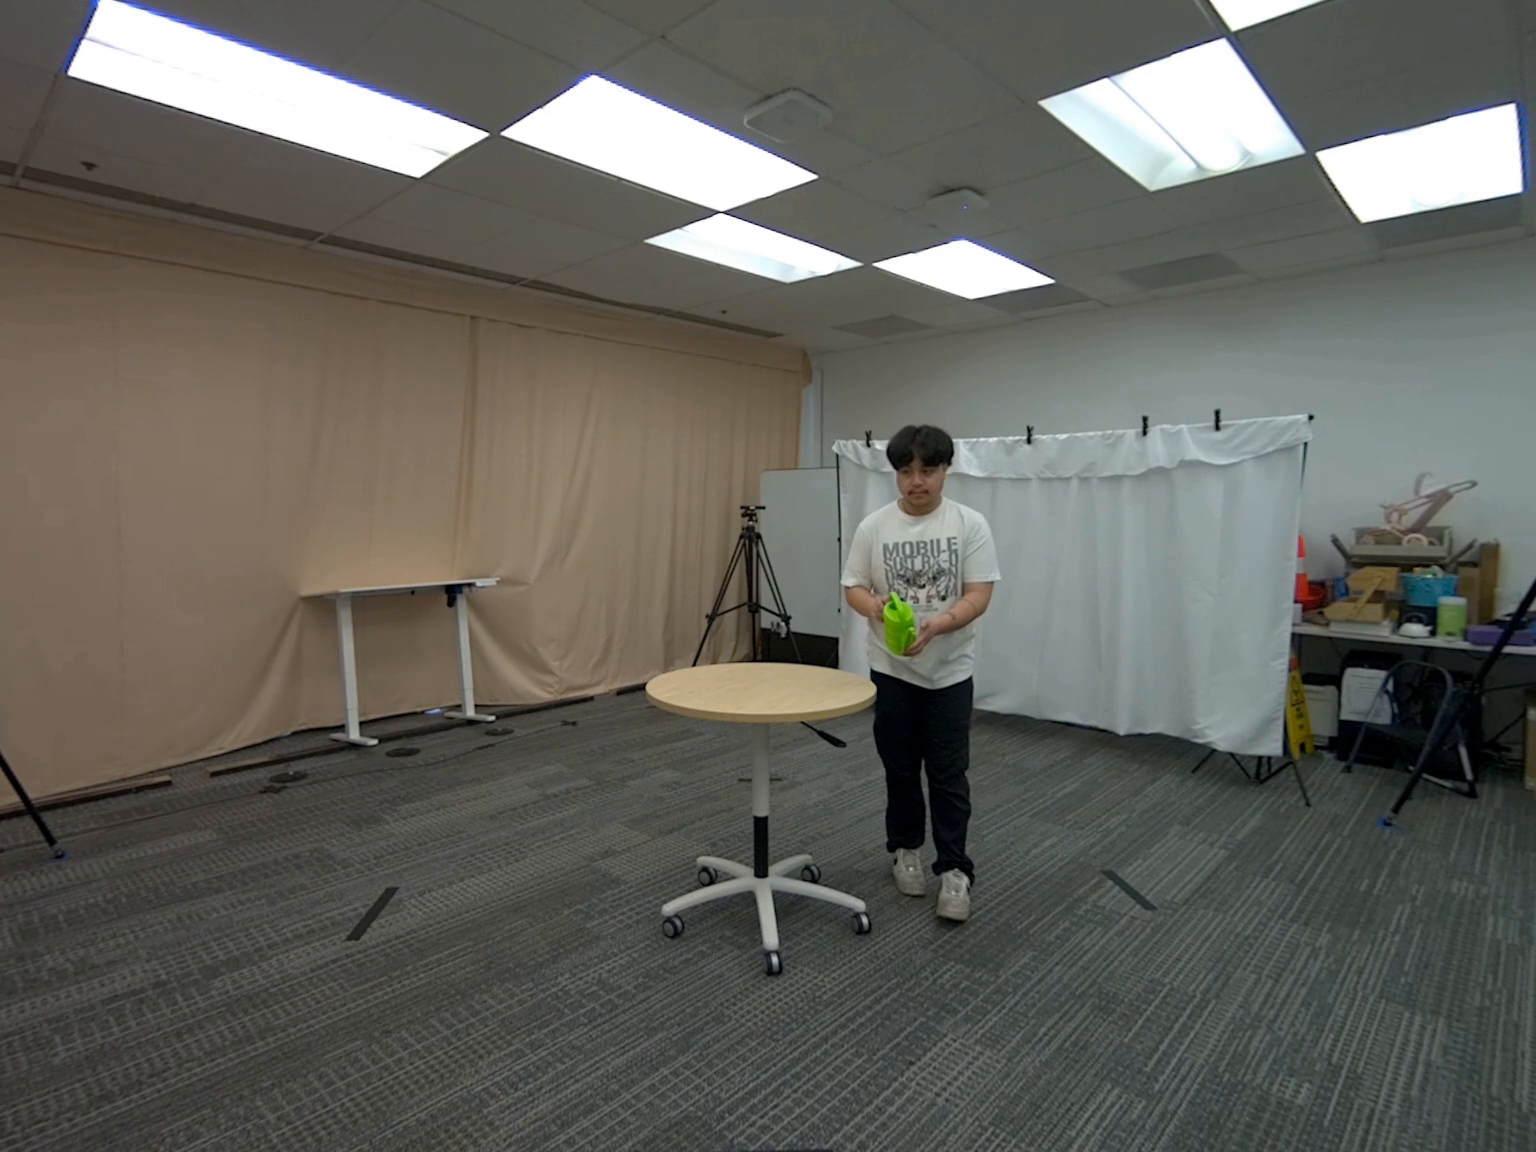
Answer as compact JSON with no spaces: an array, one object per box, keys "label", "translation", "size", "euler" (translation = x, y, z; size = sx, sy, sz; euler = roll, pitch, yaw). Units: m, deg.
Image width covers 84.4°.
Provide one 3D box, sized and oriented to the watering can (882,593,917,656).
[{"label":"watering can","translation":[0.409,0.173,2.662],"size":[0.100,0.174,0.278],"euler":[1,28,14]}]
